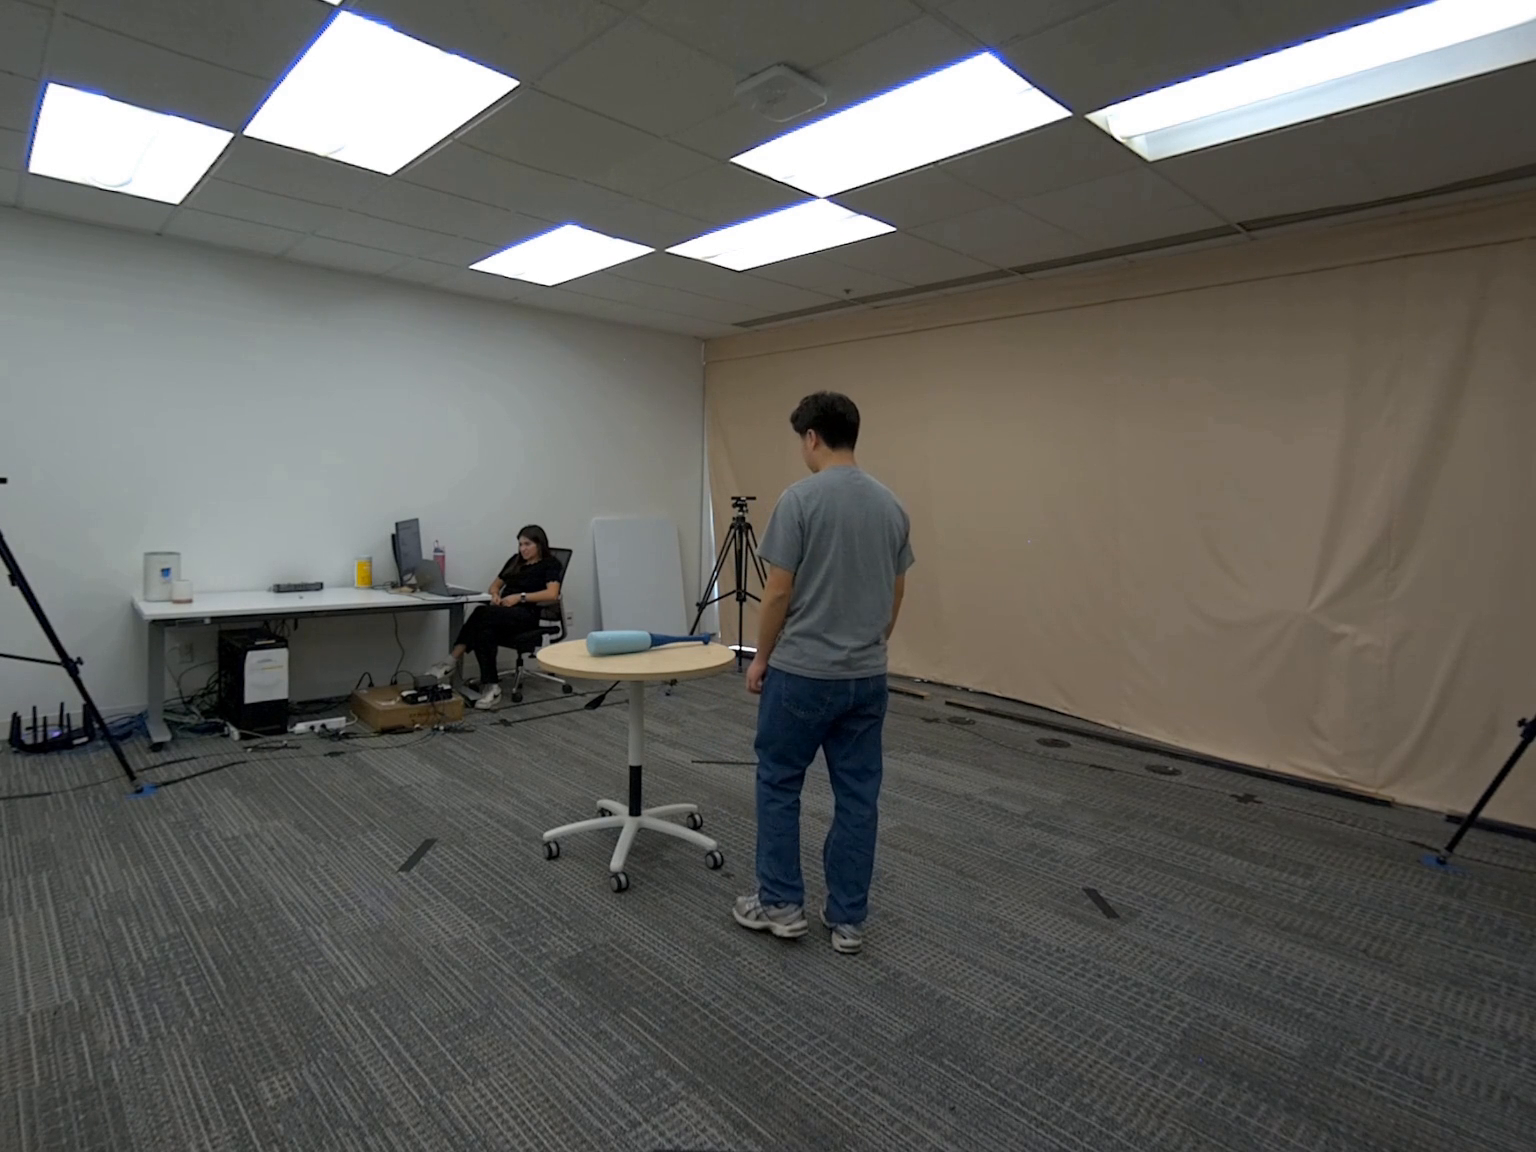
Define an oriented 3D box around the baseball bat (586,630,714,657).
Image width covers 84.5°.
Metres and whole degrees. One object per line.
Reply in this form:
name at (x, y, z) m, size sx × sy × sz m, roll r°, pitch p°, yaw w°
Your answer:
baseball bat at (-0.464, 0.258, 3.326) m, size 0.530 × 0.089 × 0.091 m, roll 1°, pitch 4°, yaw -36°
